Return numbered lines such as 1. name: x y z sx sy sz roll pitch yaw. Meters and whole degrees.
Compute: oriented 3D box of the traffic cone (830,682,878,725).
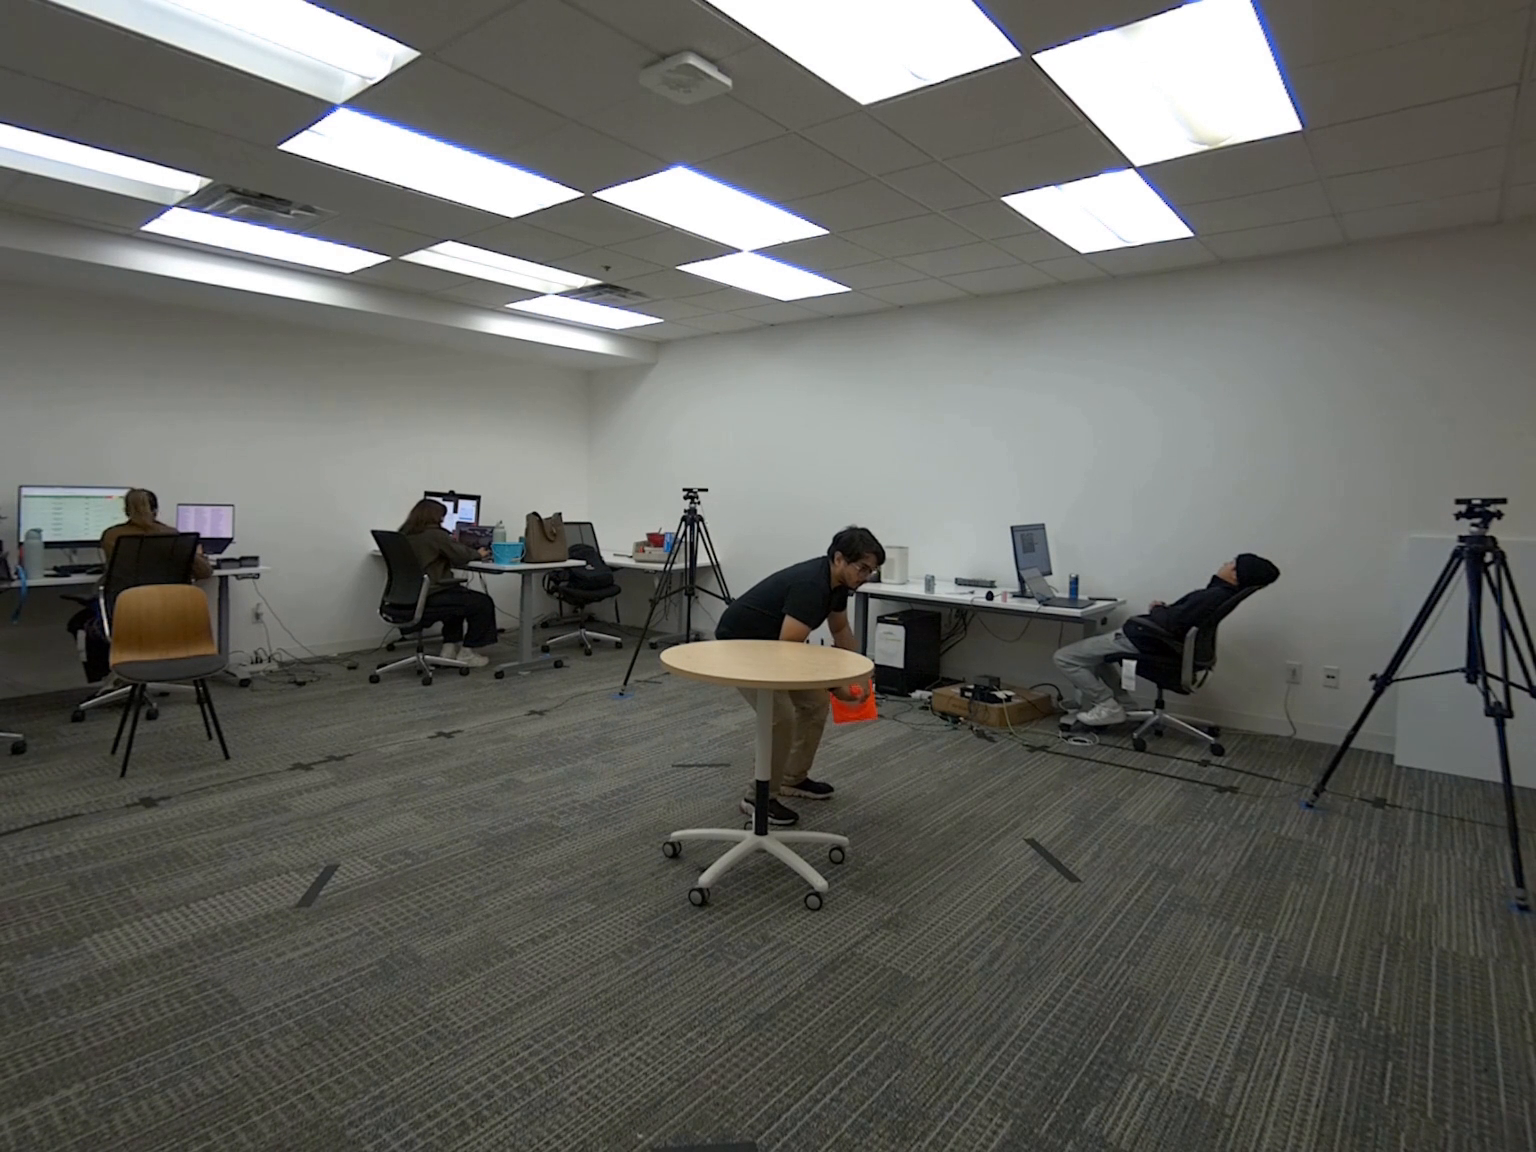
1. traffic cone: 0.353 0.521 3.728 0.204 0.209 0.375 -16 -14 4
